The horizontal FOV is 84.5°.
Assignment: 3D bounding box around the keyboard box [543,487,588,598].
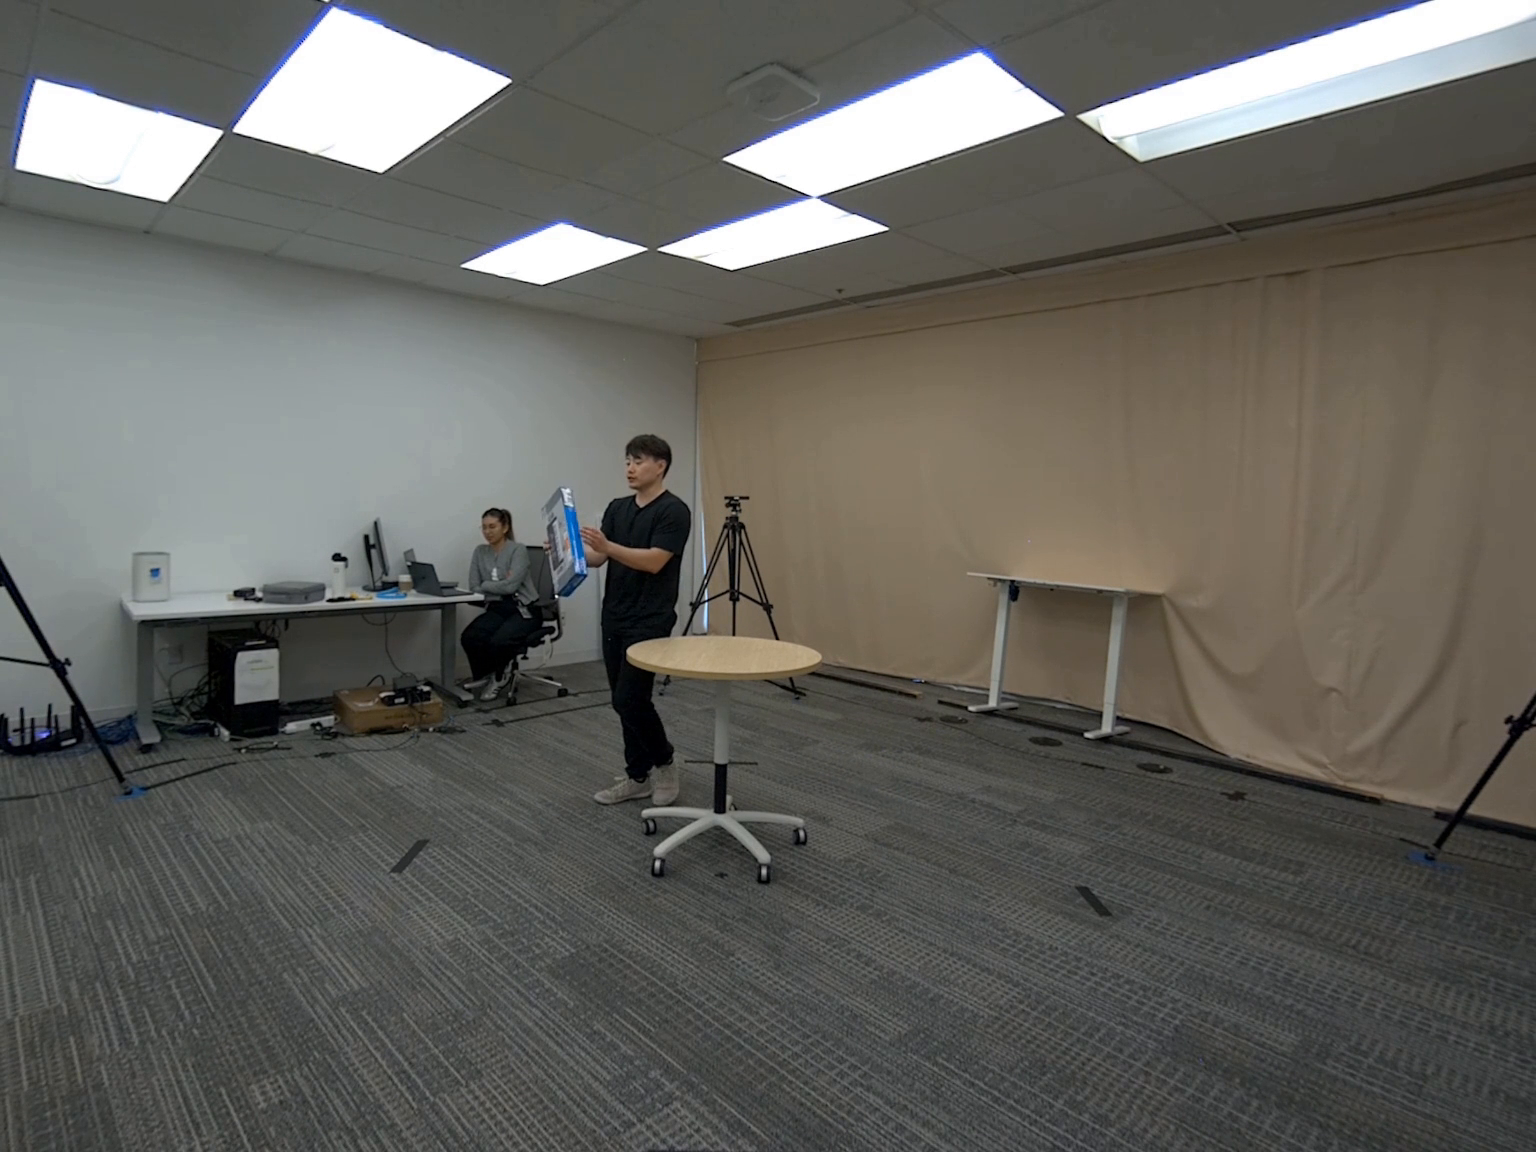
[{"bbox_3d":[-0.848,-0.147,3.467,0.057,0.448,0.176,10,-40,-40],"label":"keyboard box"}]
